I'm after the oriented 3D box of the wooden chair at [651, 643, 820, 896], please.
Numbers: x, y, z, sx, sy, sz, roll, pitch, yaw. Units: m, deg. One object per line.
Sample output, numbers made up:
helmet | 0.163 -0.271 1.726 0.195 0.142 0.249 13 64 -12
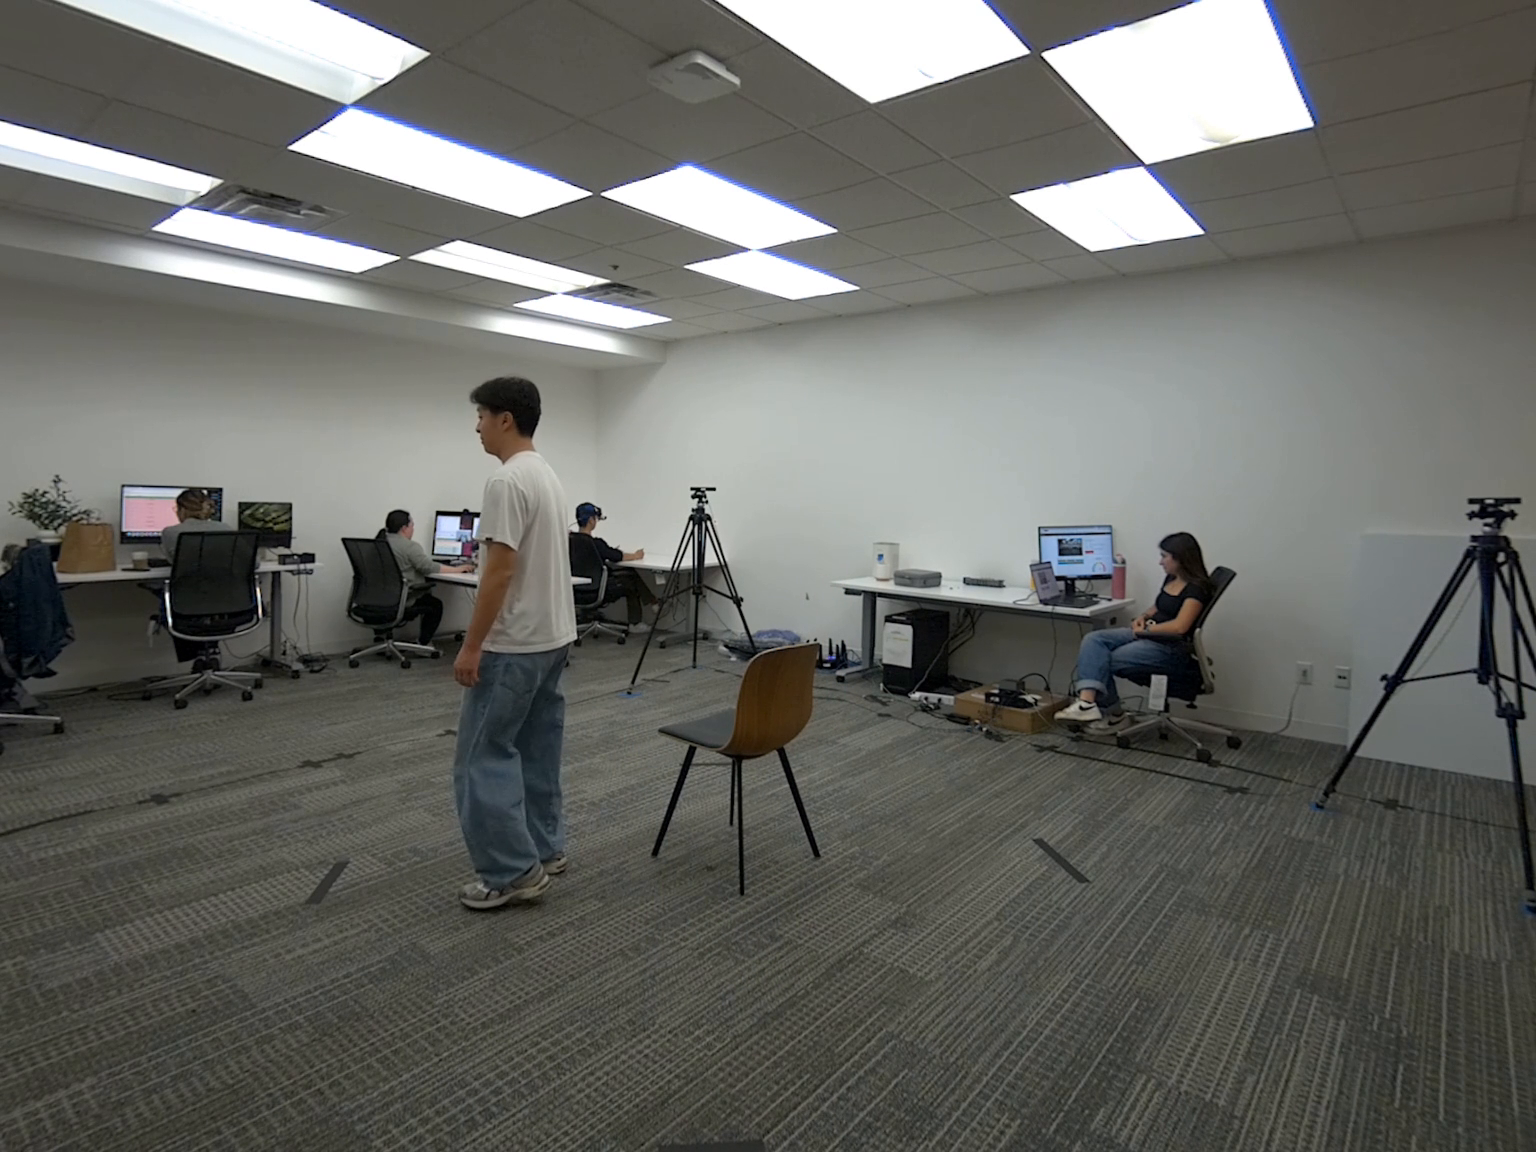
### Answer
wooden chair | -0.125 0.636 3.194 0.542 0.873 0.463 9 7 40
